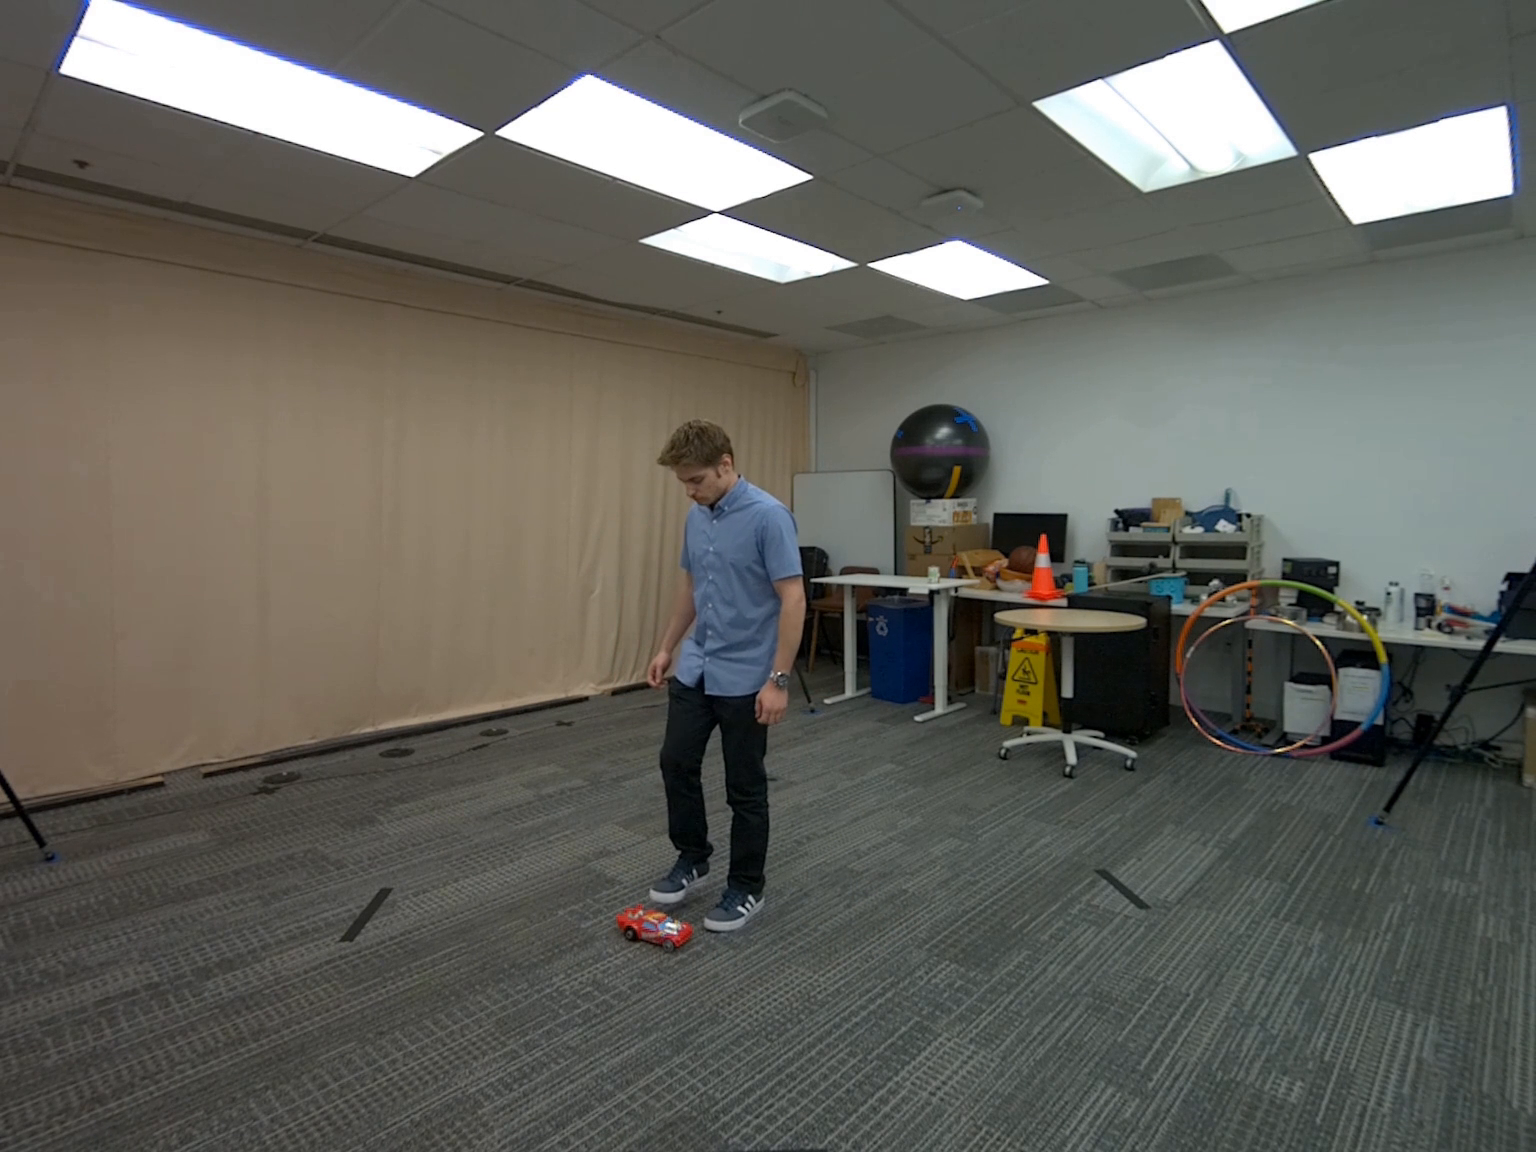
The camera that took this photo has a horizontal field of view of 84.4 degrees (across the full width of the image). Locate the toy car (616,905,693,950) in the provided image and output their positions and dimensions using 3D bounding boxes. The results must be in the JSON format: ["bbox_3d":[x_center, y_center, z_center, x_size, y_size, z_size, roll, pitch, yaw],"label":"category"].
[{"bbox_3d":[-0.375,1.138,2.717,0.262,0.083,0.127,14,12,28],"label":"toy car"}]
